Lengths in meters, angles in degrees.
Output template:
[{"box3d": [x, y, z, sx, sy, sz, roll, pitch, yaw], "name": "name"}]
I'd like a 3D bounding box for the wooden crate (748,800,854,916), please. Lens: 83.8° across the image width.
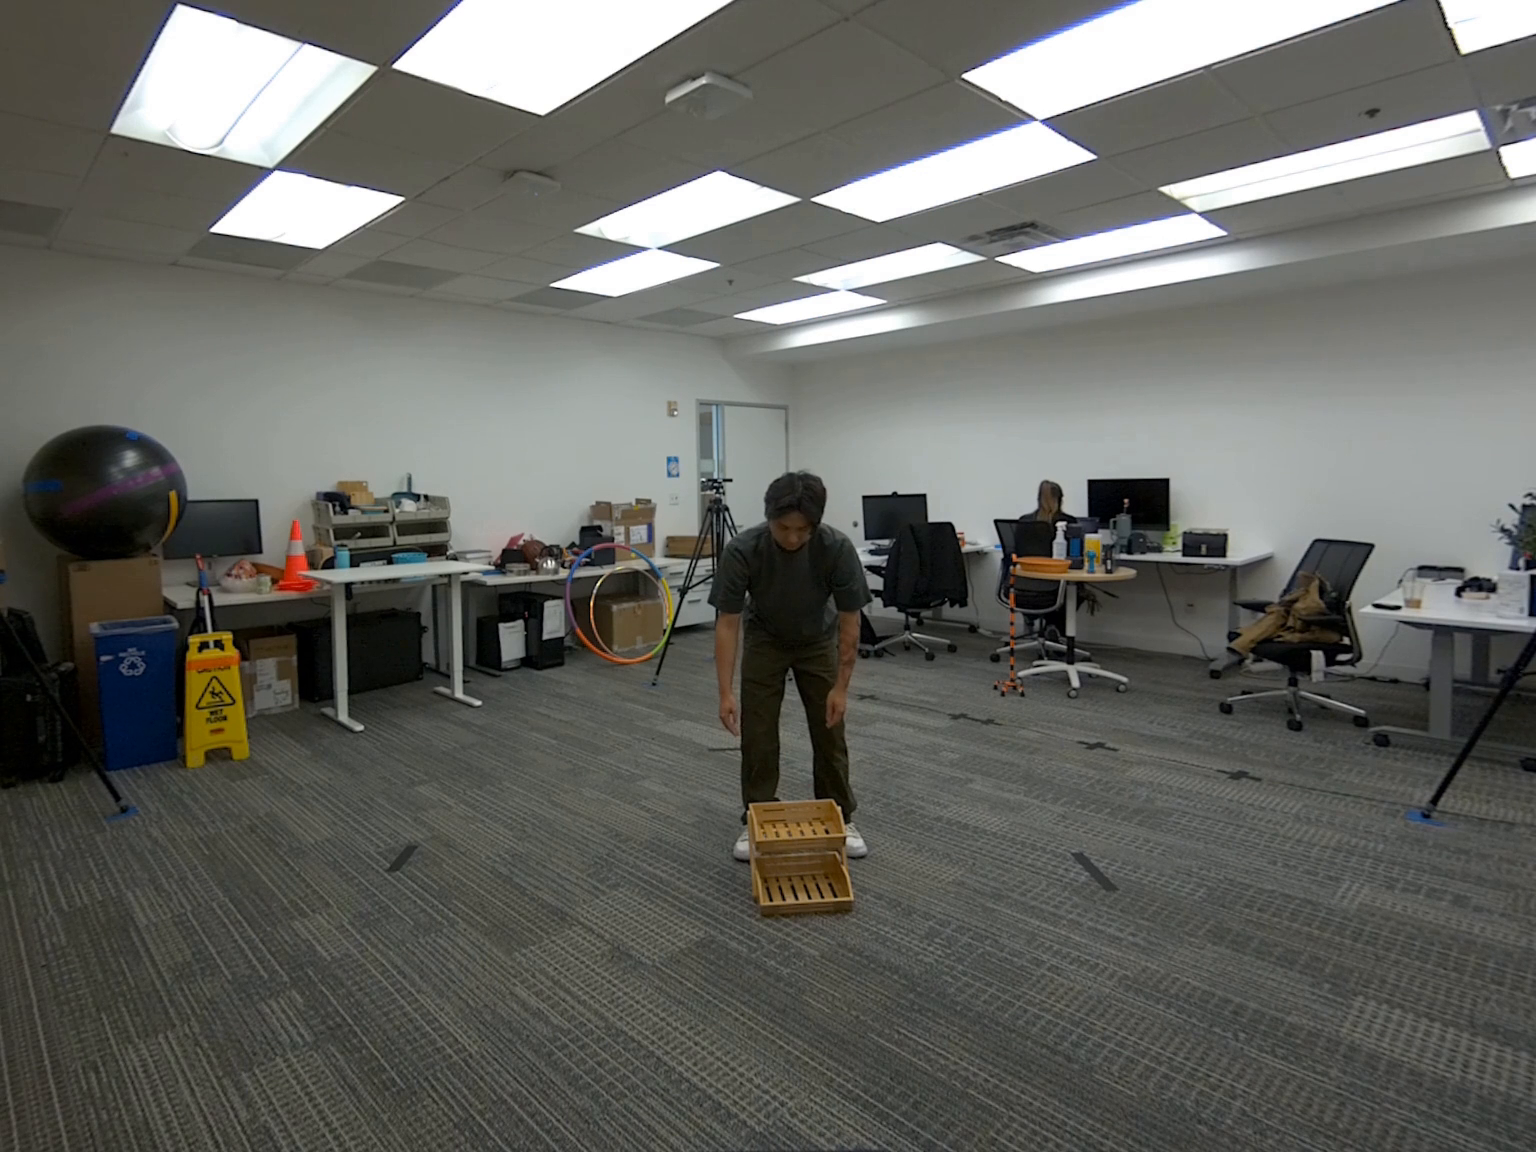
[{"box3d": [0.105, 0.942, 2.853, 0.323, 0.272, 0.305, -2, 6, -6], "name": "wooden crate"}]
